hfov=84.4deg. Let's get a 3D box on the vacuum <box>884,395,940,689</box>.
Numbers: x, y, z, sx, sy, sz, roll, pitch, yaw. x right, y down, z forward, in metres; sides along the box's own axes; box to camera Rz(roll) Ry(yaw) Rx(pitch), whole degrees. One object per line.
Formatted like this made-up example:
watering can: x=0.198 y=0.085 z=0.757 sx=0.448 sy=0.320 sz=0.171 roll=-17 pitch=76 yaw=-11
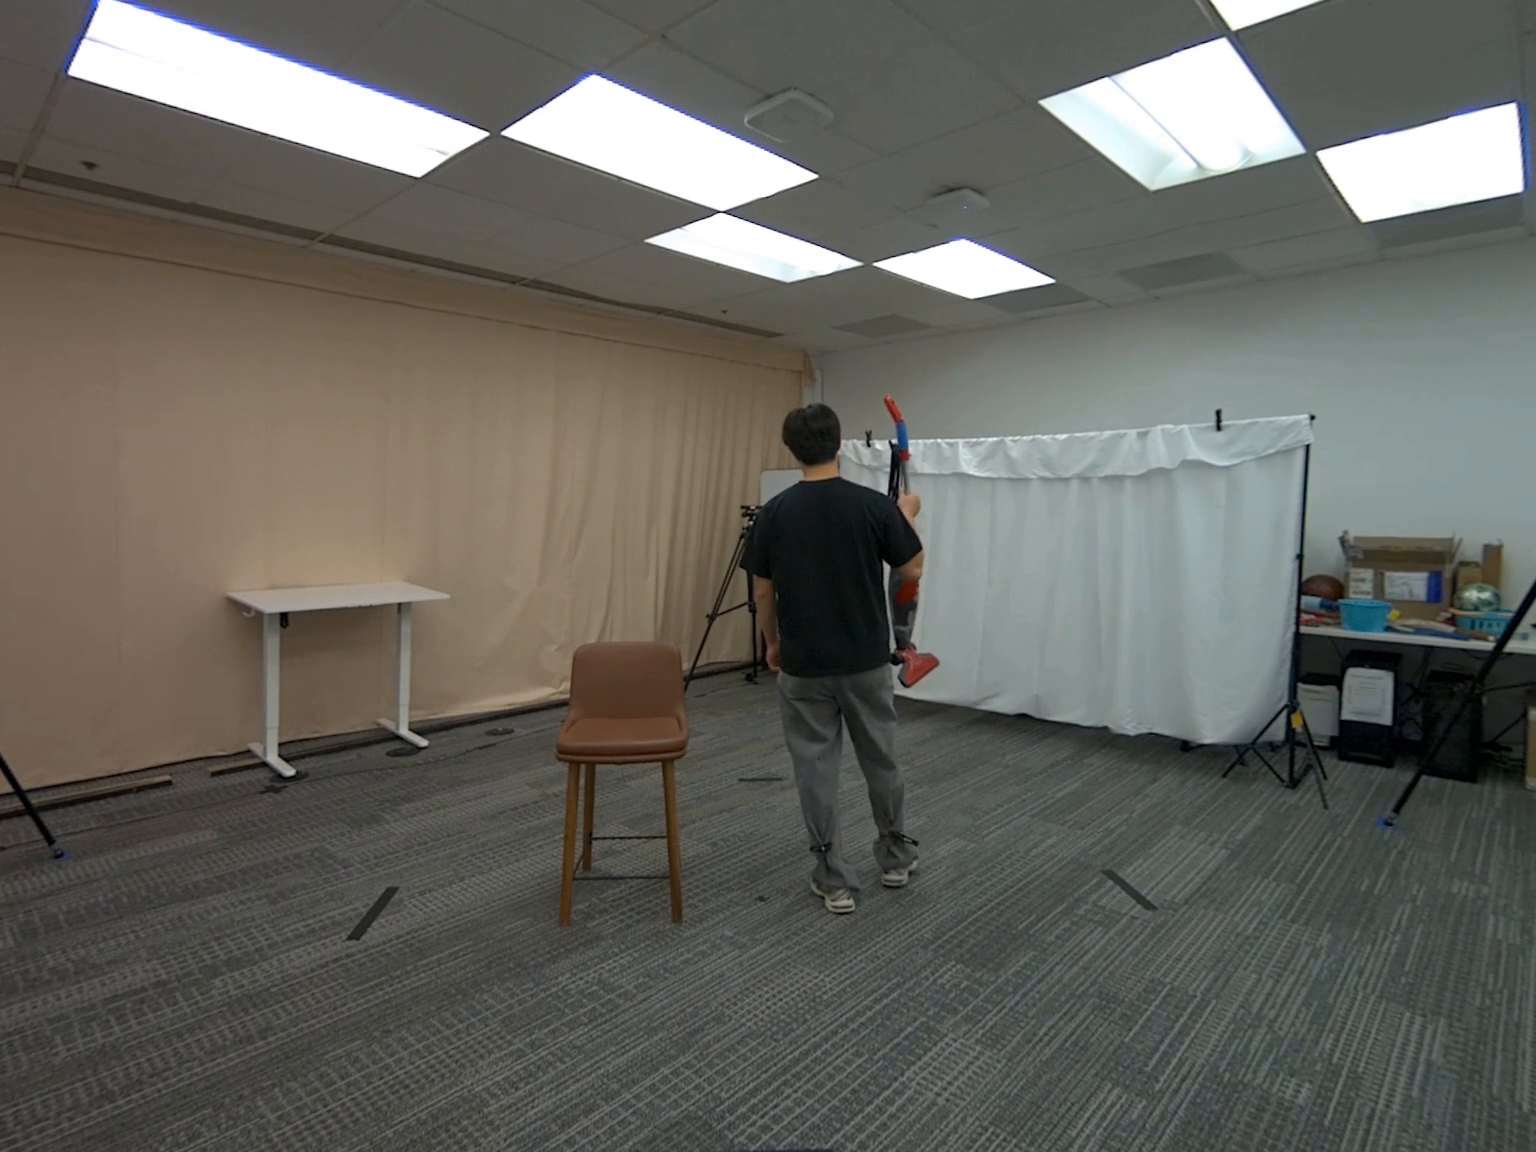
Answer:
vacuum: x=0.511 y=-0.147 z=3.193 sx=0.247 sy=1.039 sz=0.149 roll=-17 pitch=15 yaw=-34
